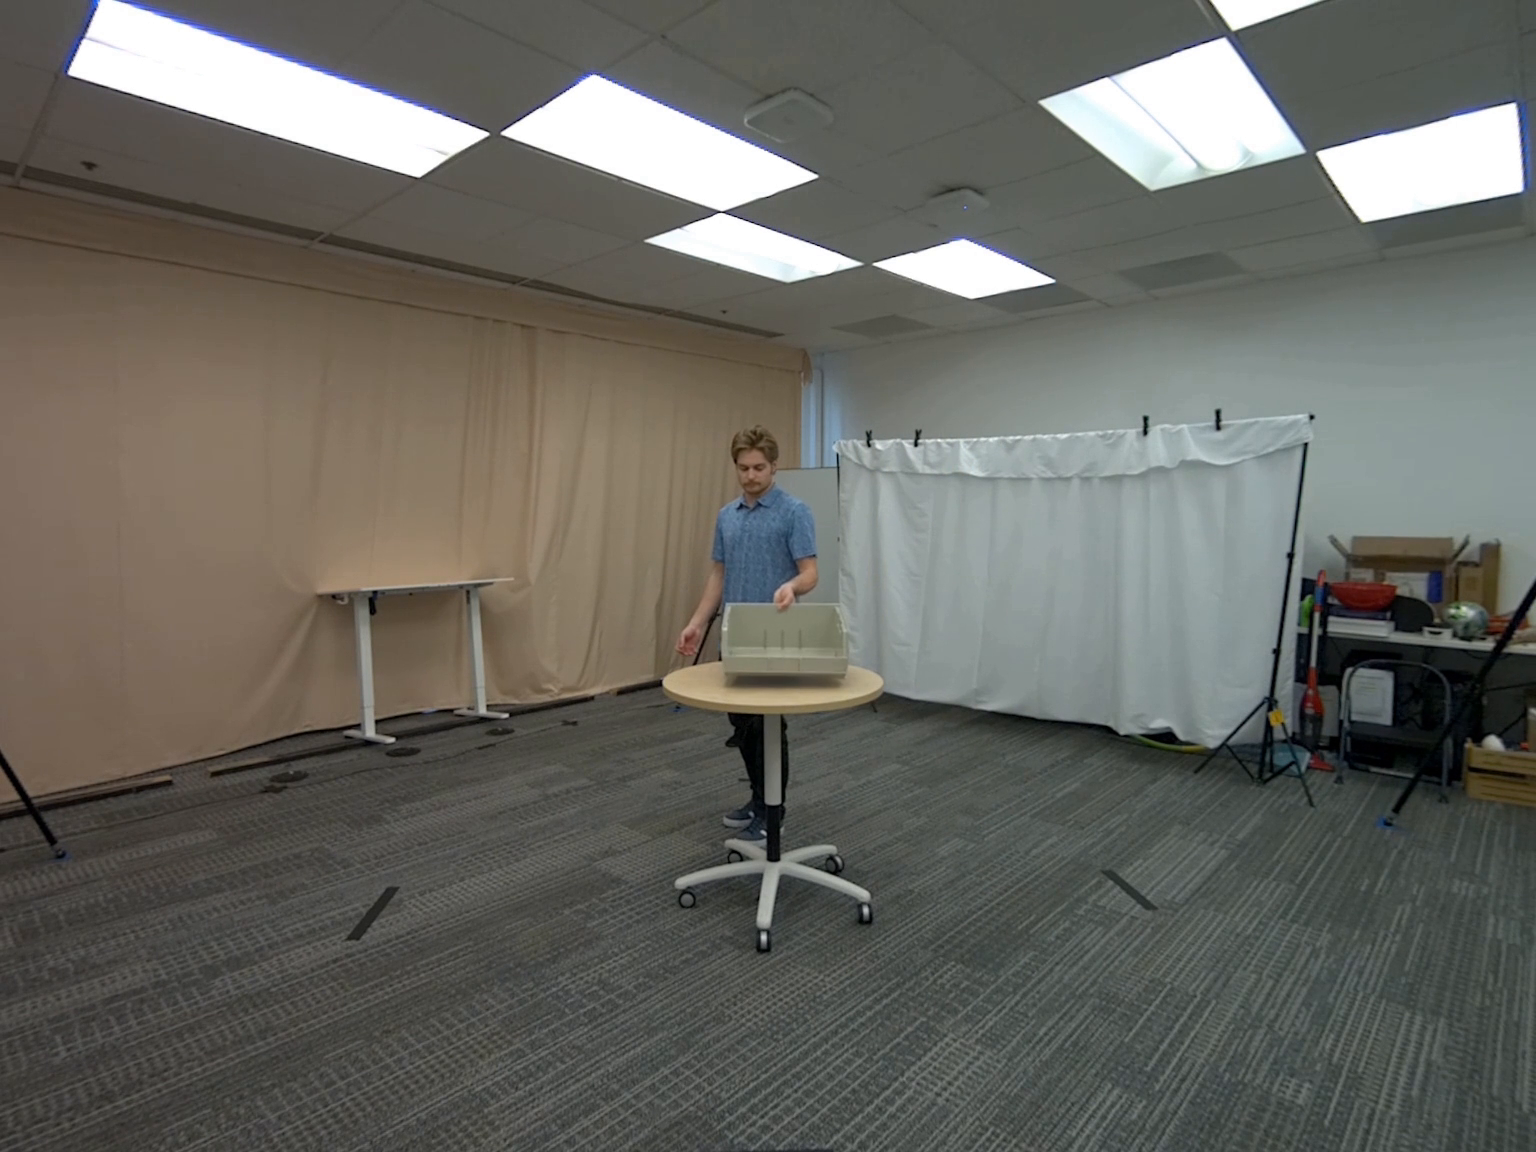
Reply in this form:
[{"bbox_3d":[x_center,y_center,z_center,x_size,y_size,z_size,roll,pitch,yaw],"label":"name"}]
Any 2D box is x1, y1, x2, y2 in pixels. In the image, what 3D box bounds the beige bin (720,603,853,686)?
[{"bbox_3d":[0.047,0.226,2.920,0.422,0.188,0.380,0,9,-1],"label":"beige bin"}]
